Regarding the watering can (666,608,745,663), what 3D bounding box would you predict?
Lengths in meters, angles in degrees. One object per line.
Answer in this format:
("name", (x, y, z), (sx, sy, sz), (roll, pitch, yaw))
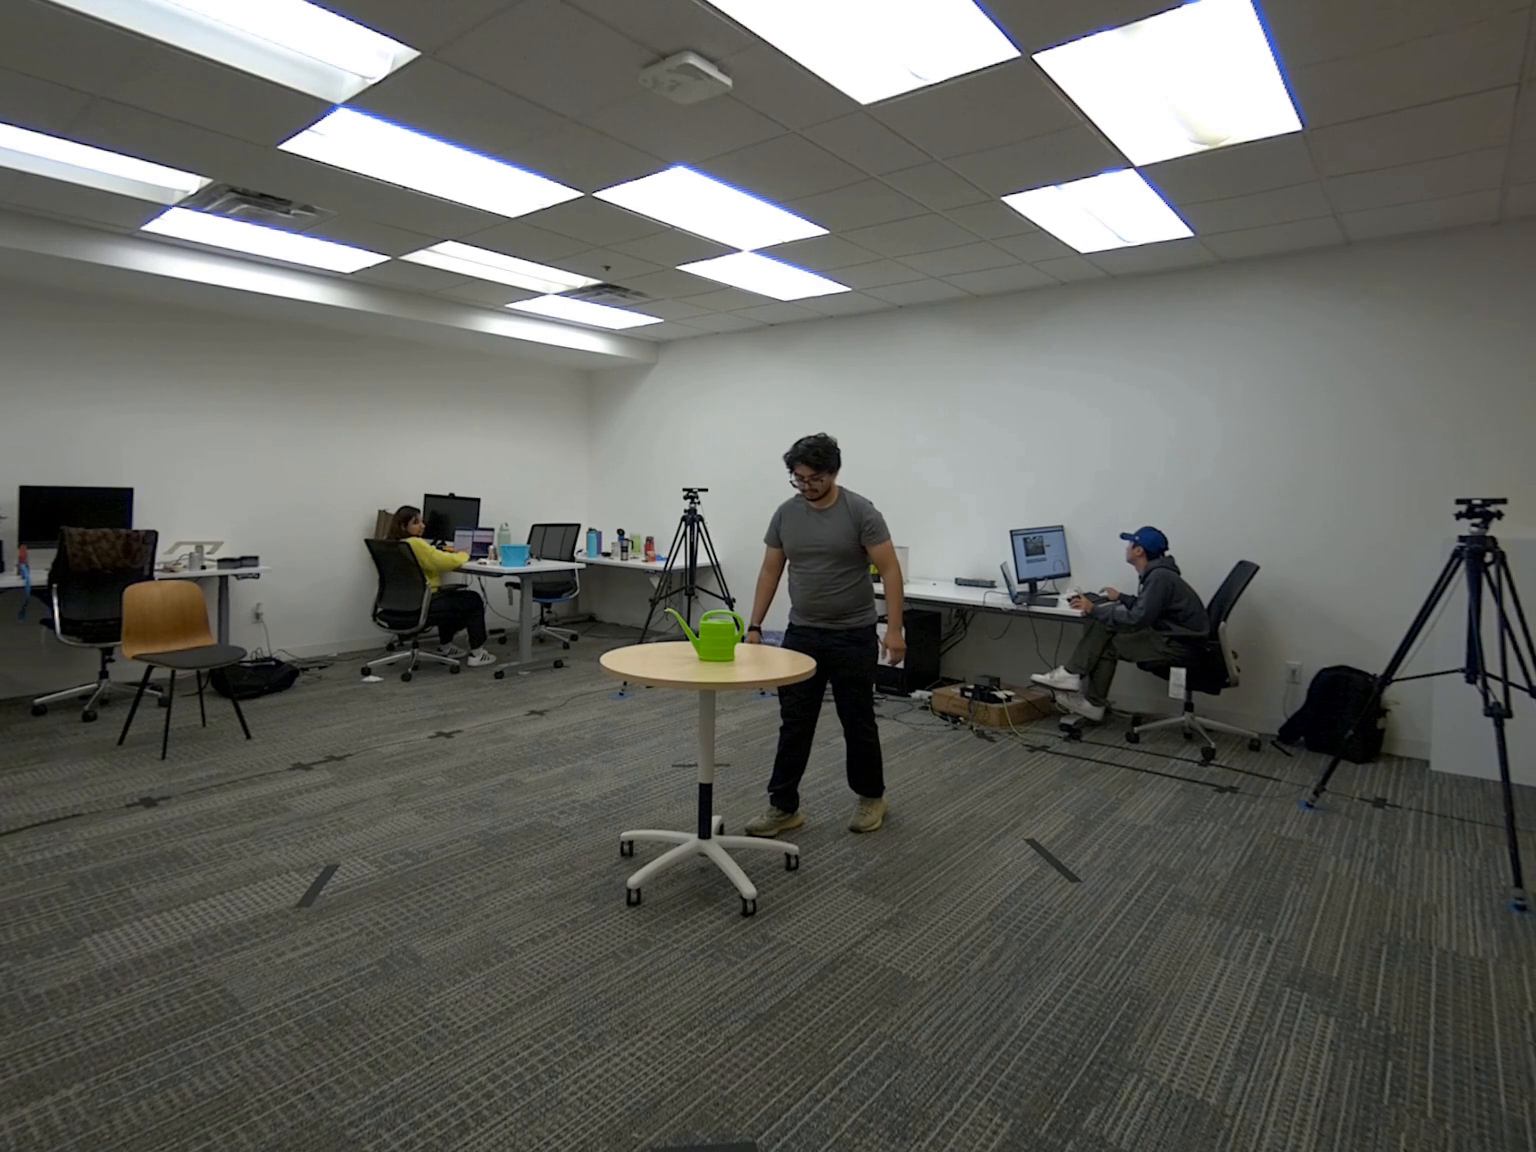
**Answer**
("watering can", (-0.242, 0.210, 3.040), (0.283, 0.176, 0.096), (2, 2, 18))
